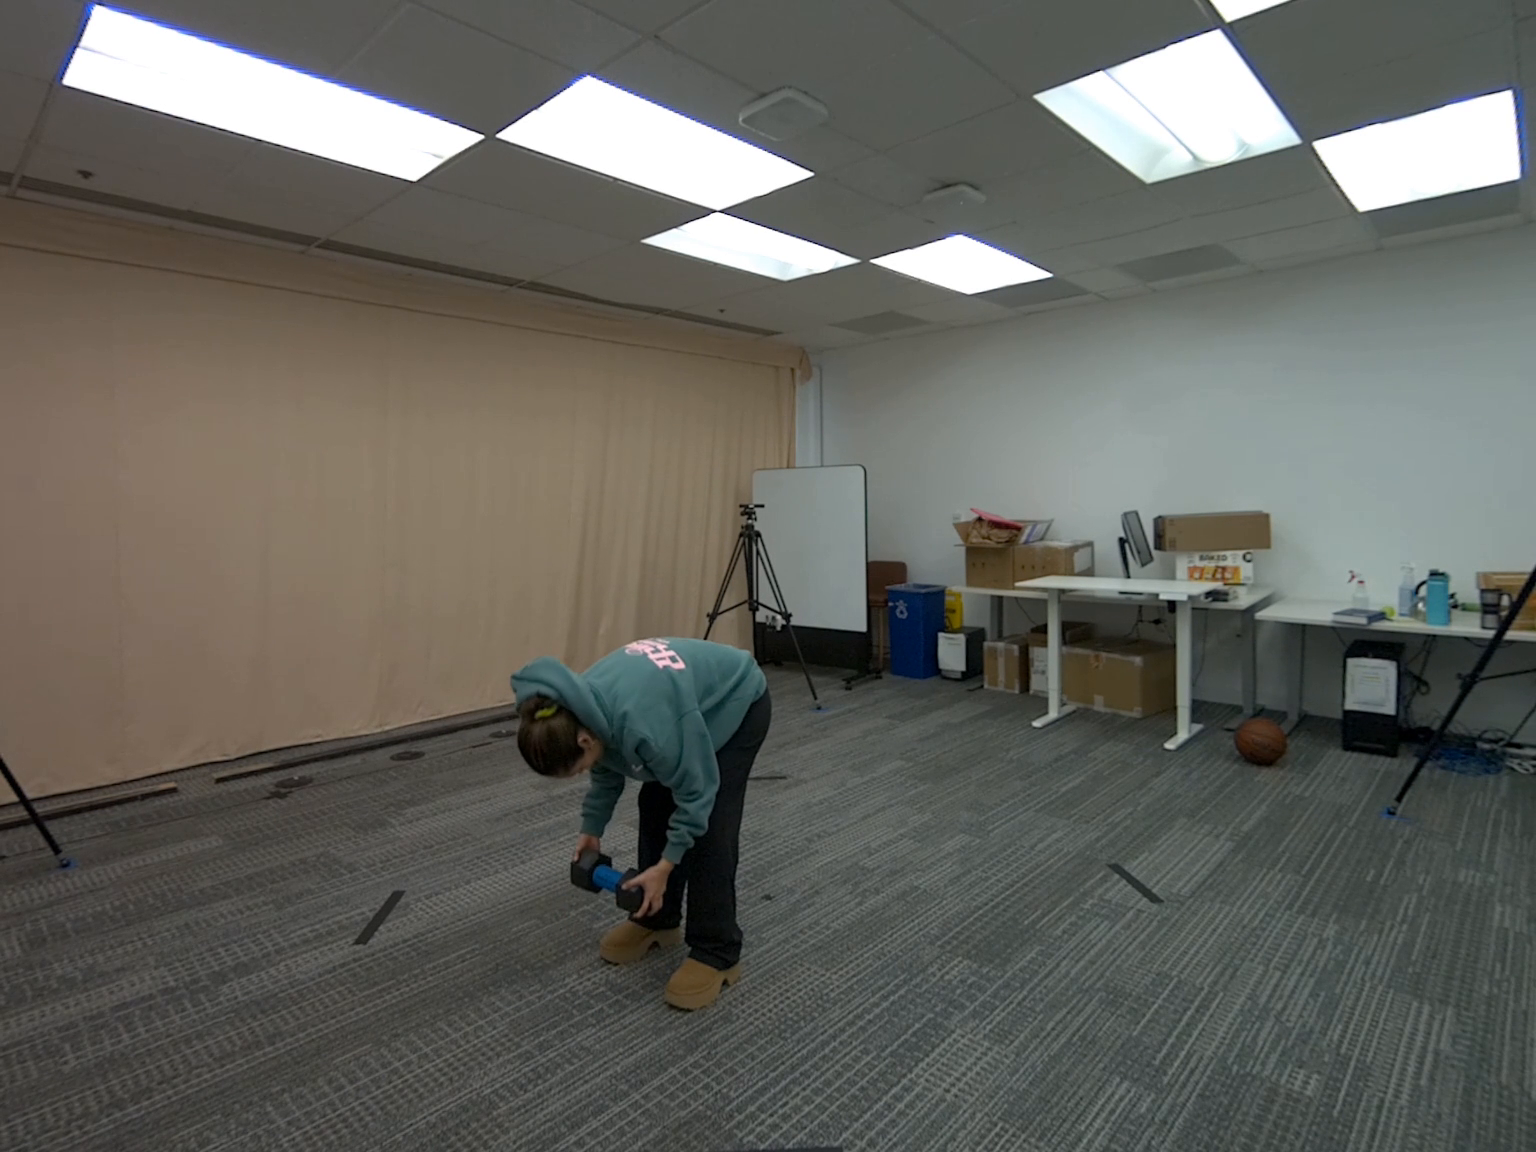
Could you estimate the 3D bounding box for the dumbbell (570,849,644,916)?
[{"bbox_3d":[-0.436,0.867,2.399,0.303,0.122,0.105,2,7,43],"label":"dumbbell"}]
